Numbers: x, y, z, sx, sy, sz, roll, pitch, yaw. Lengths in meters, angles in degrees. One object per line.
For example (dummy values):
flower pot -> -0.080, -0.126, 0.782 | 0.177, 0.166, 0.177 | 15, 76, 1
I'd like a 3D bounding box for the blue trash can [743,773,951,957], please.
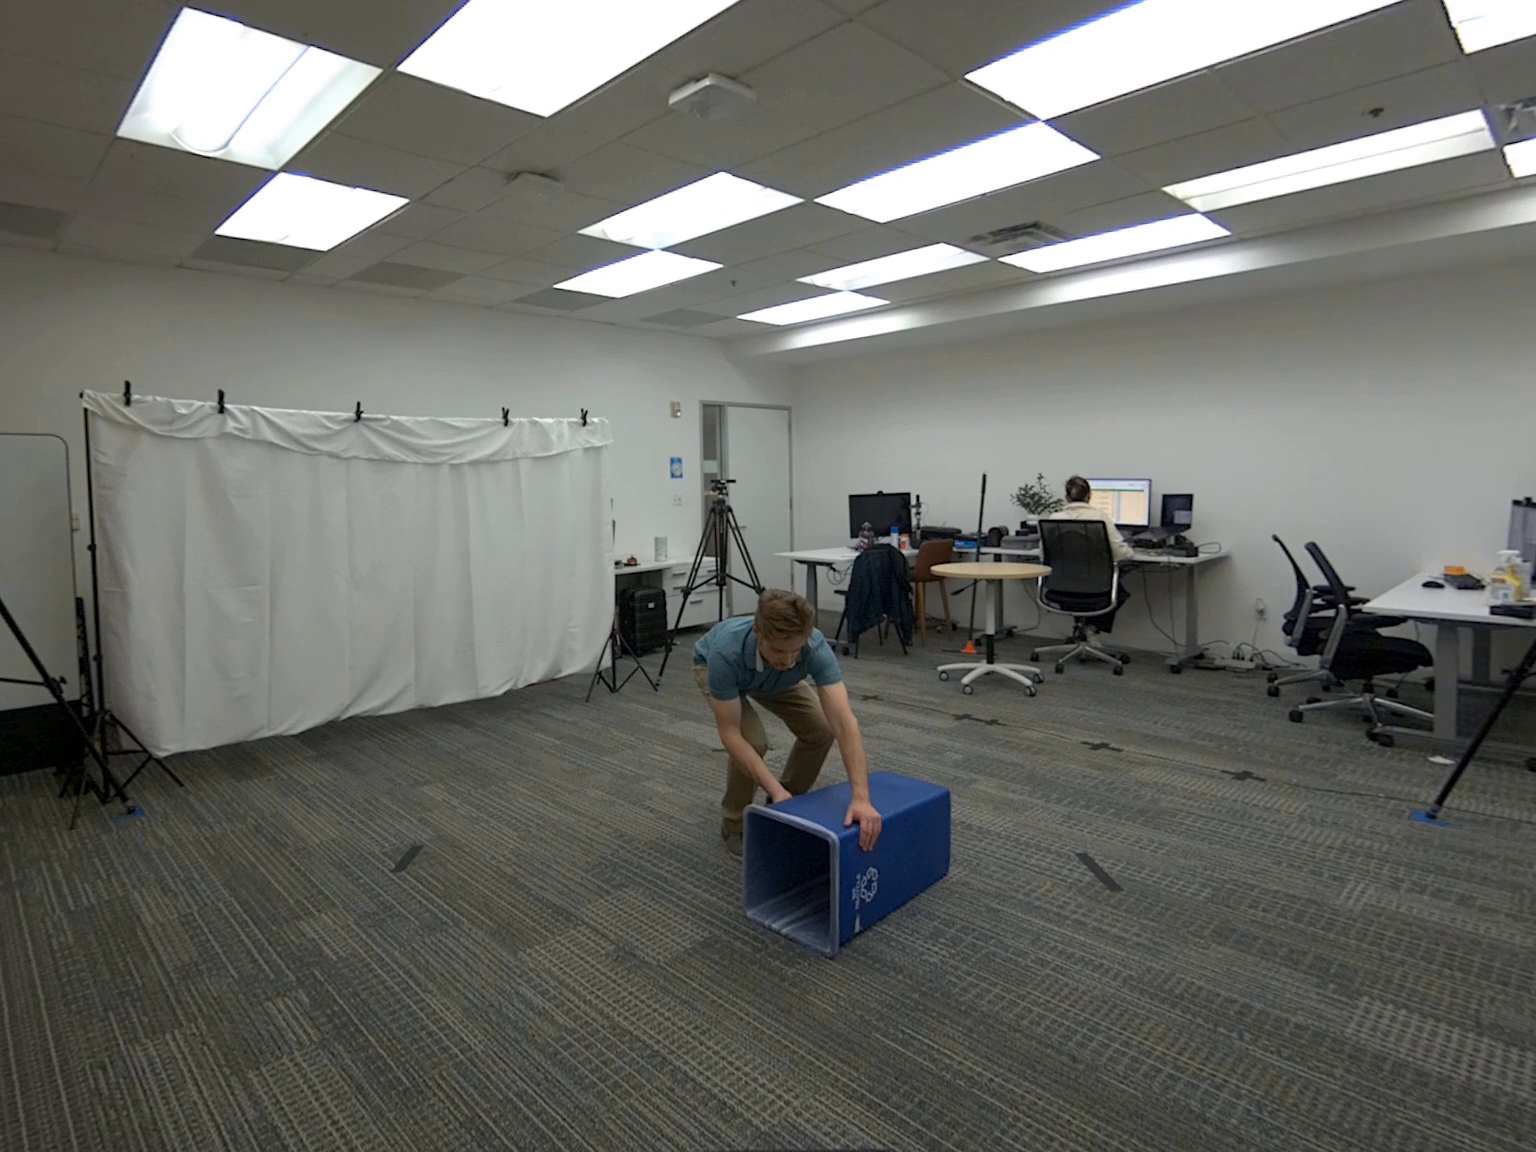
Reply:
blue trash can -> 0.292, 0.912, 2.852 | 0.385, 0.377, 0.693 | 3, 4, 43
